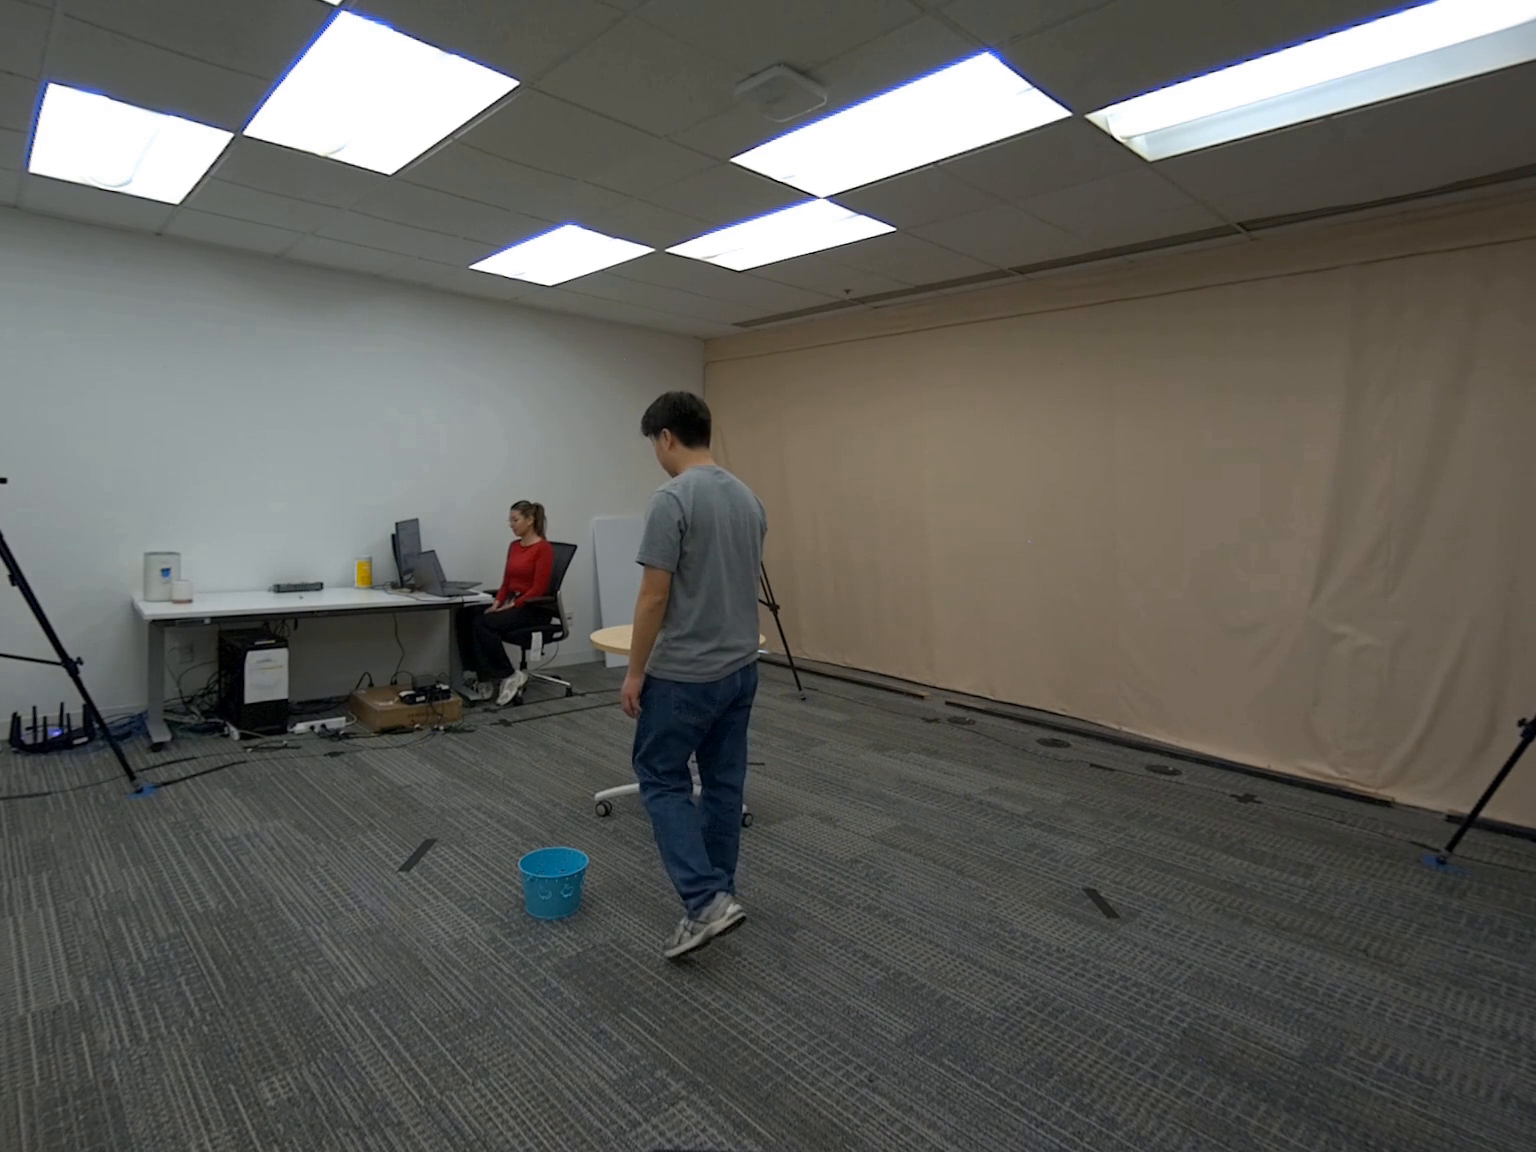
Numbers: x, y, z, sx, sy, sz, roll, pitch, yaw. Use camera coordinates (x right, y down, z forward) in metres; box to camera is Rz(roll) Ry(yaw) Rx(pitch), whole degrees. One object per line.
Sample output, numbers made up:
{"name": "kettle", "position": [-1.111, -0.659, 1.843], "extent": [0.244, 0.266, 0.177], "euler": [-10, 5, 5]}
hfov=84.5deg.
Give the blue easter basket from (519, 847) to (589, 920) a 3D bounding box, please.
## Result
{"name": "blue easter basket", "position": [-0.731, 1.034, 2.852], "extent": [0.243, 0.155, 0.244], "euler": [2, 6, -2]}
